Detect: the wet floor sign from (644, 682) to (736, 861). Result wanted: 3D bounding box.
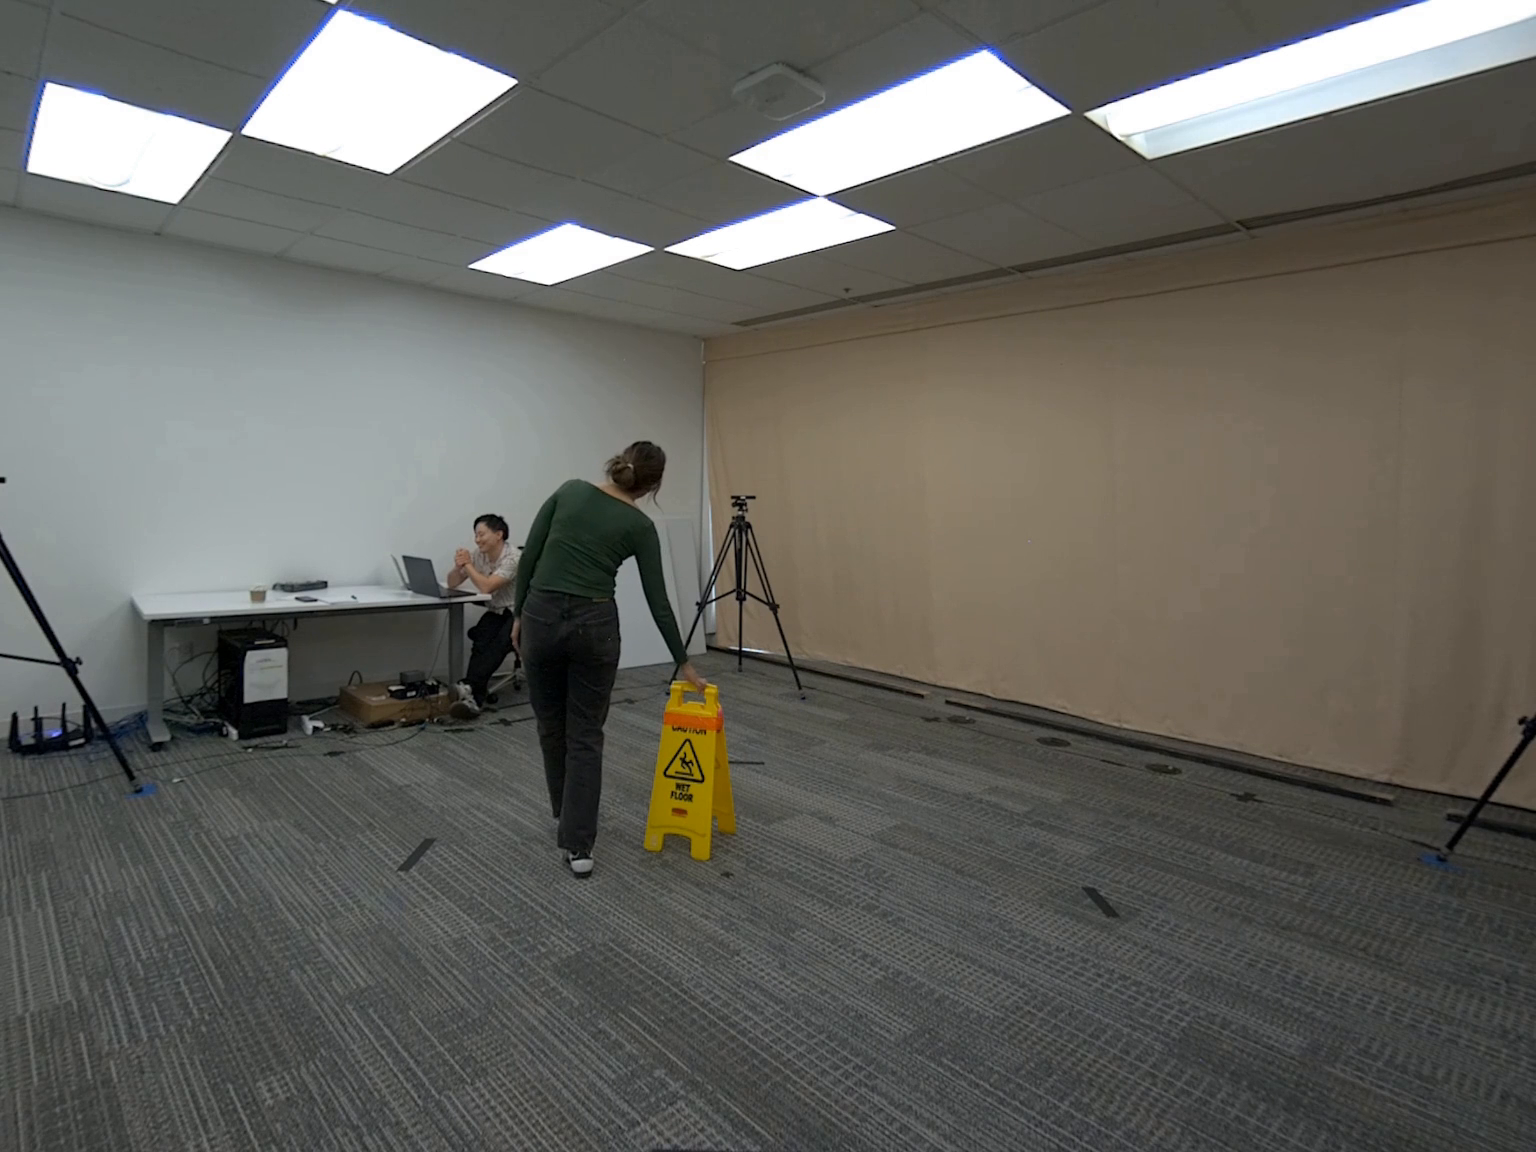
[{"bbox_3d":[-0.318,0.747,3.387,0.287,0.644,0.286,1,3,20],"label":"wet floor sign"}]
